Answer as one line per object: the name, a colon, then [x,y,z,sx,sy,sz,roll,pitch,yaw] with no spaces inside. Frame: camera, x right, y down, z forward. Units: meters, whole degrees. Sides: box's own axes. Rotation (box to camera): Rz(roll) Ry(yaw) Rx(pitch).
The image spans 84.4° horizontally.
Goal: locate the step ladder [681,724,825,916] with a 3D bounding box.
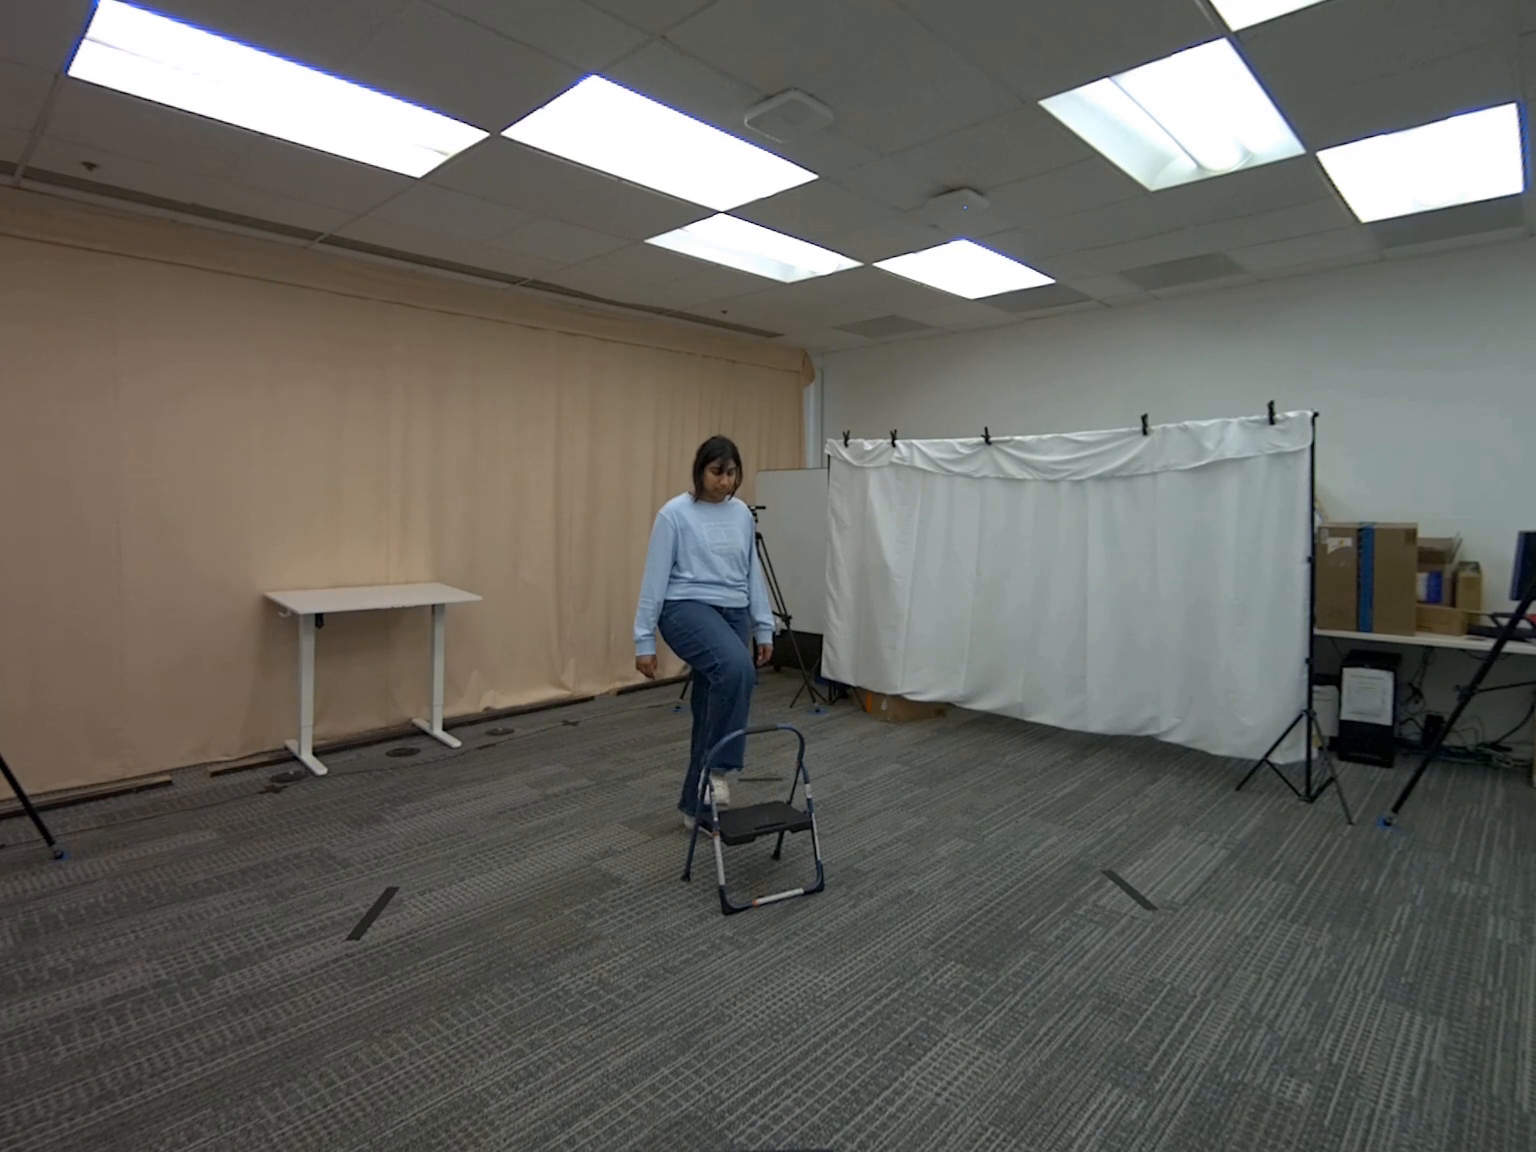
step ladder: [-0.054,0.834,3.080,0.419,0.605,0.359,-2,4,-30]
